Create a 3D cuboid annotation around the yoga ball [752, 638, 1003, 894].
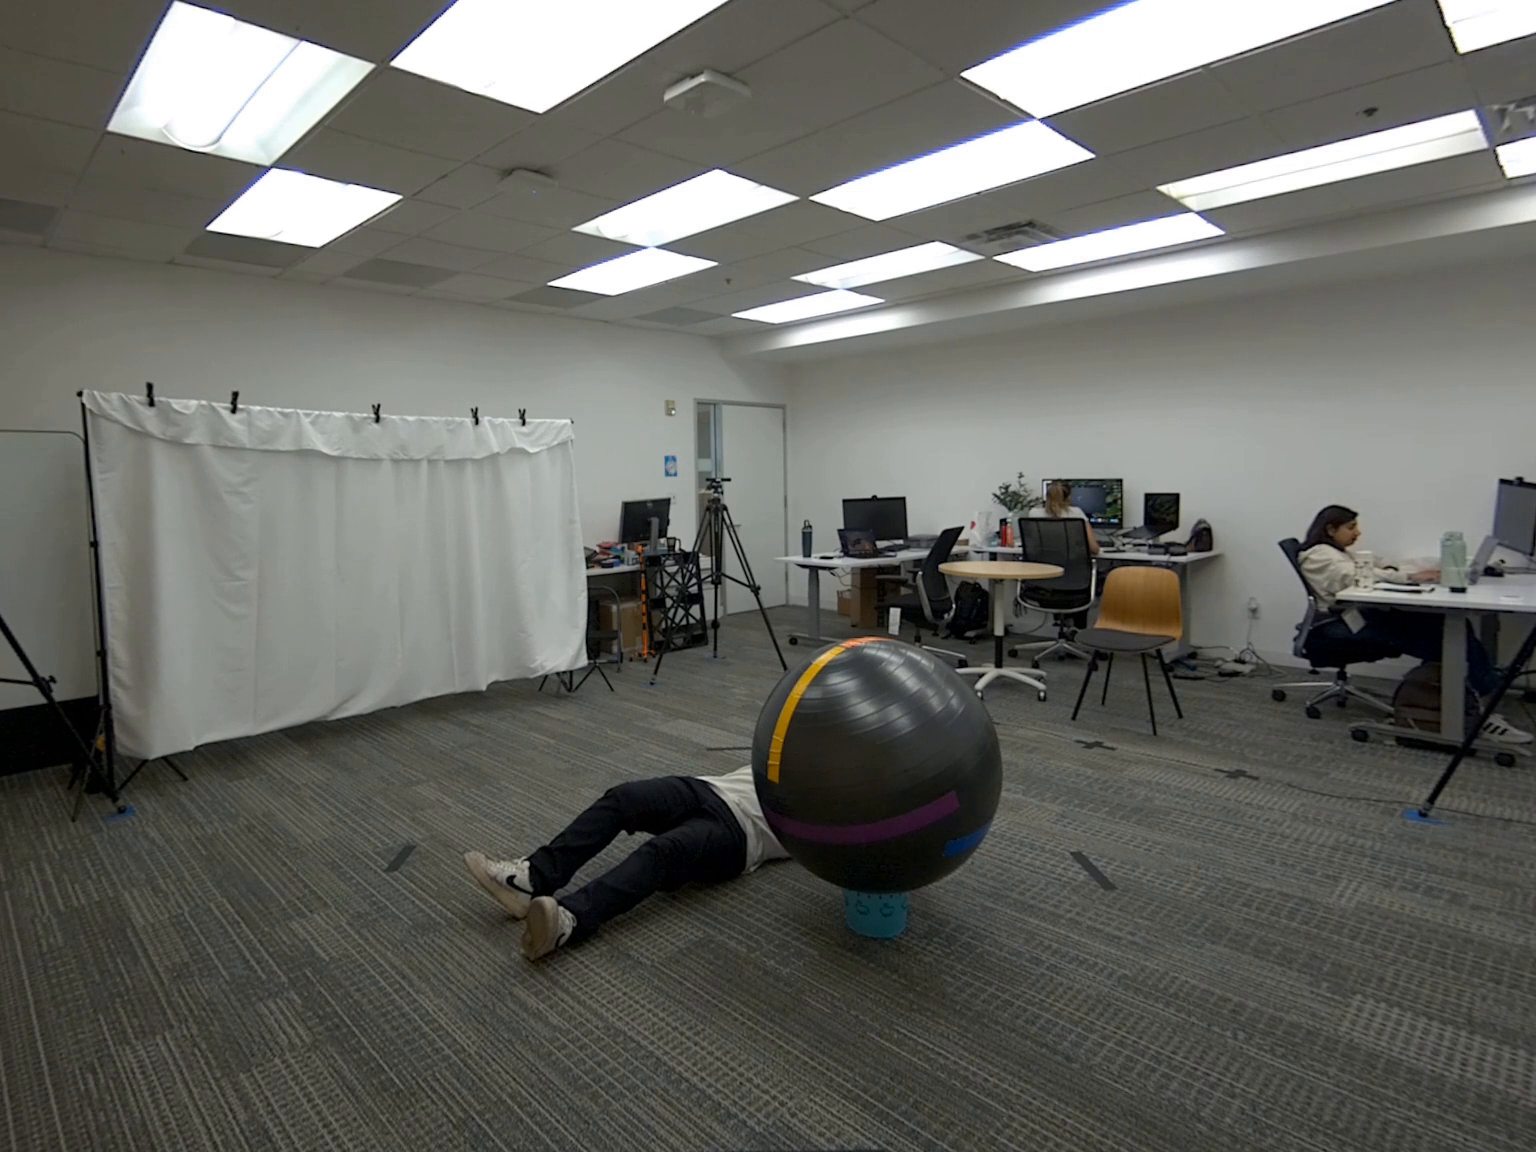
[{"bbox_3d":[0.334,0.578,2.632,0.757,0.755,0.762,-1,5,-2],"label":"yoga ball"}]
